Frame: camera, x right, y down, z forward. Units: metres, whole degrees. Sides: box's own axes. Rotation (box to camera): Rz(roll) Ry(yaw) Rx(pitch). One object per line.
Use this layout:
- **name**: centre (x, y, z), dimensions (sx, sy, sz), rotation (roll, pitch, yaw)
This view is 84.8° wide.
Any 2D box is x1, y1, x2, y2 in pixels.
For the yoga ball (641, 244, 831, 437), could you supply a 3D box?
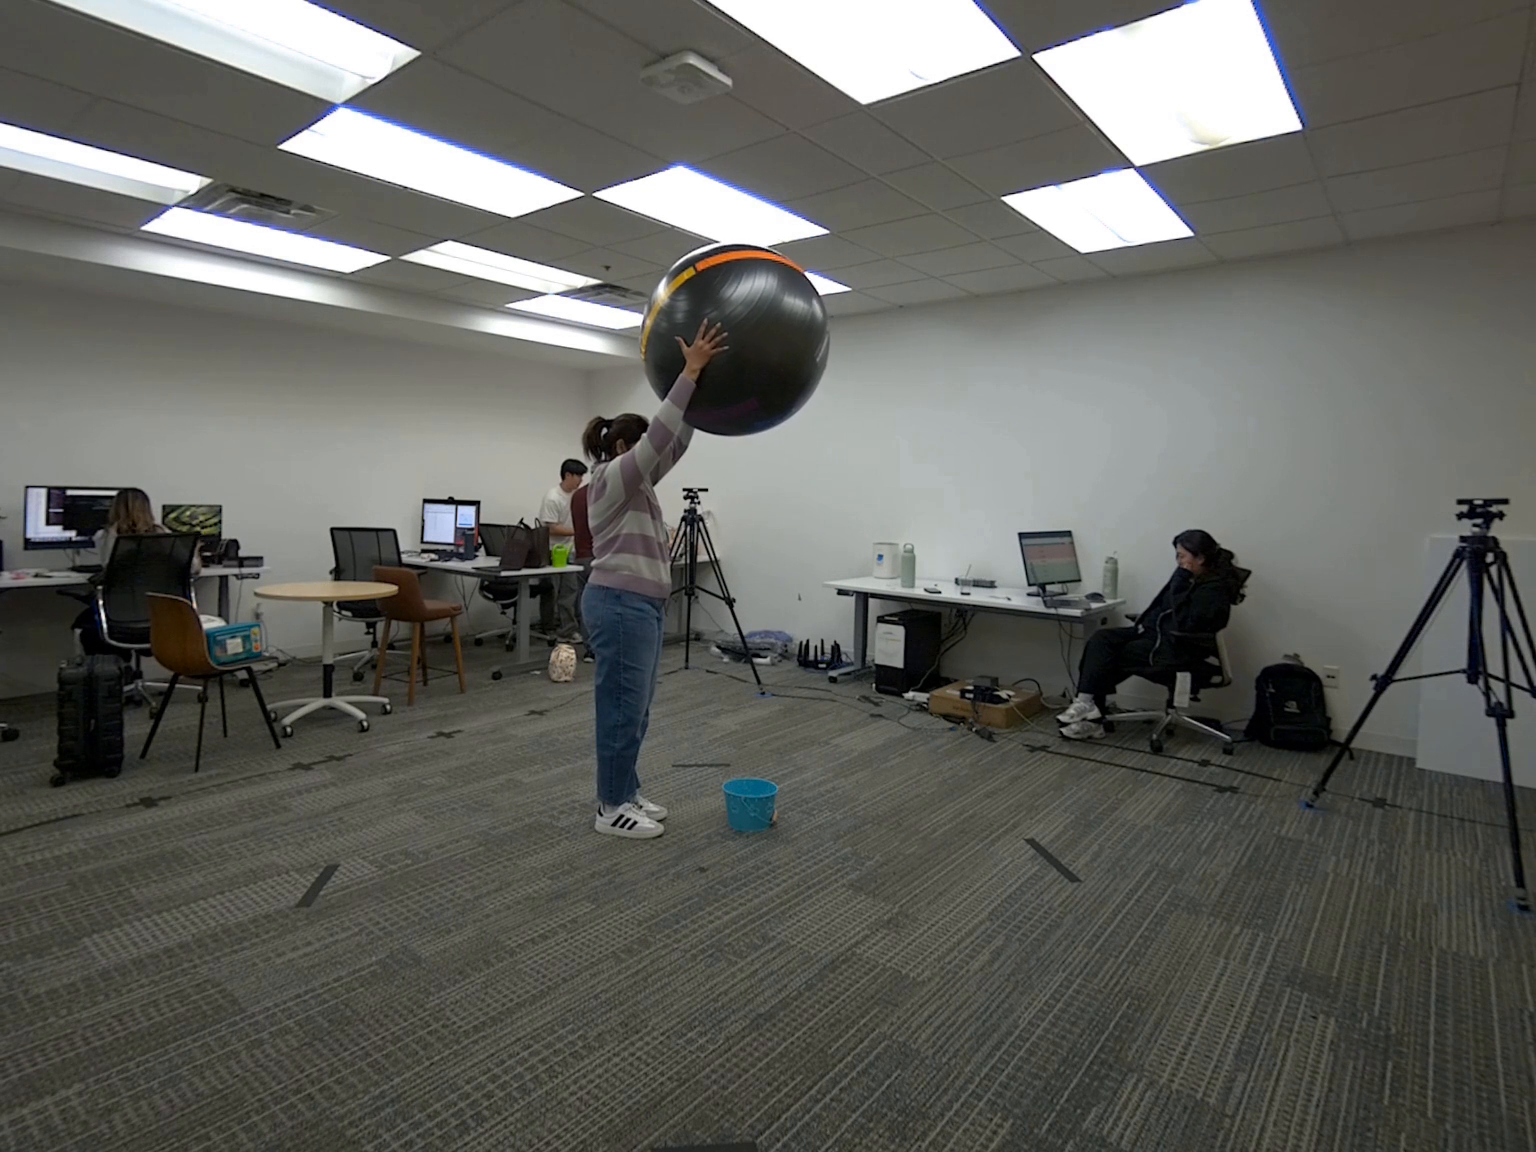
- **yoga ball**: centre (-0.142, -0.938, 3.417), dimensions (0.757, 0.756, 0.761), rotation (1, 4, -2)
